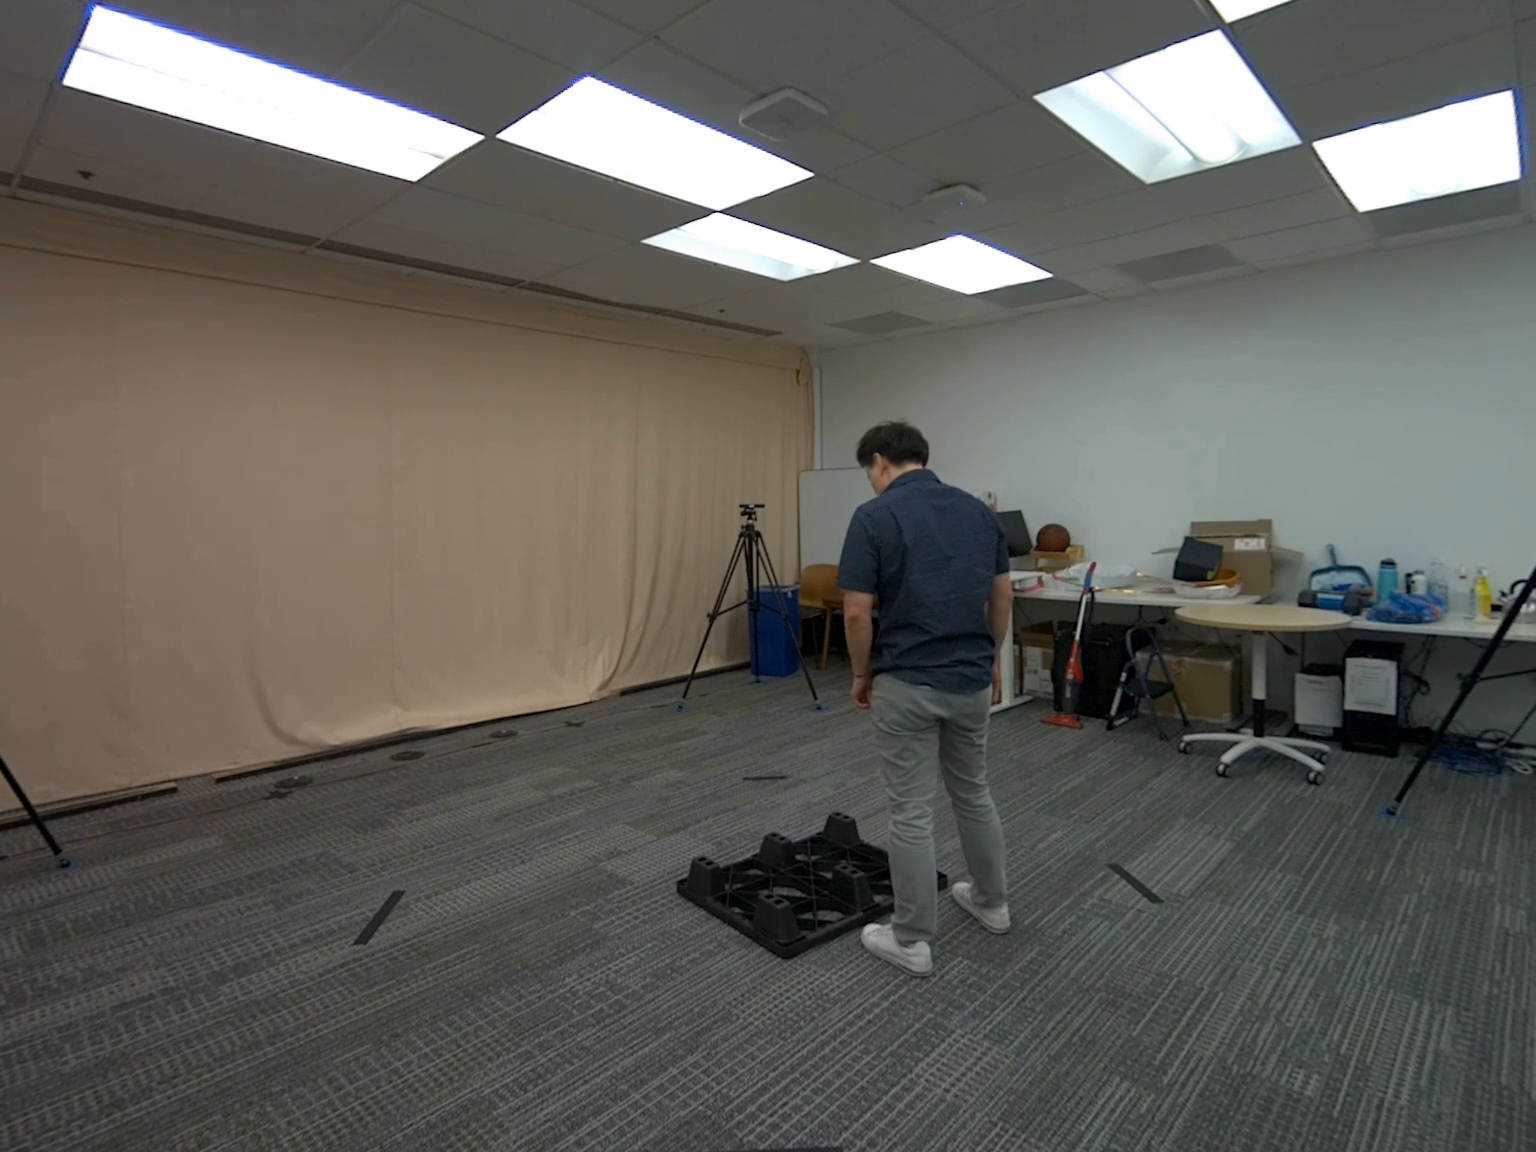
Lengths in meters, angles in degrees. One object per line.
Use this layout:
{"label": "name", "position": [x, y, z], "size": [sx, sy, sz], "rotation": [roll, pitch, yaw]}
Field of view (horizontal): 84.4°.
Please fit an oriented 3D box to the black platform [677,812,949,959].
{"label": "black platform", "position": [0.161, 1.066, 3.031], "size": [0.782, 0.143, 0.625], "rotation": [-5, 6, -39]}
